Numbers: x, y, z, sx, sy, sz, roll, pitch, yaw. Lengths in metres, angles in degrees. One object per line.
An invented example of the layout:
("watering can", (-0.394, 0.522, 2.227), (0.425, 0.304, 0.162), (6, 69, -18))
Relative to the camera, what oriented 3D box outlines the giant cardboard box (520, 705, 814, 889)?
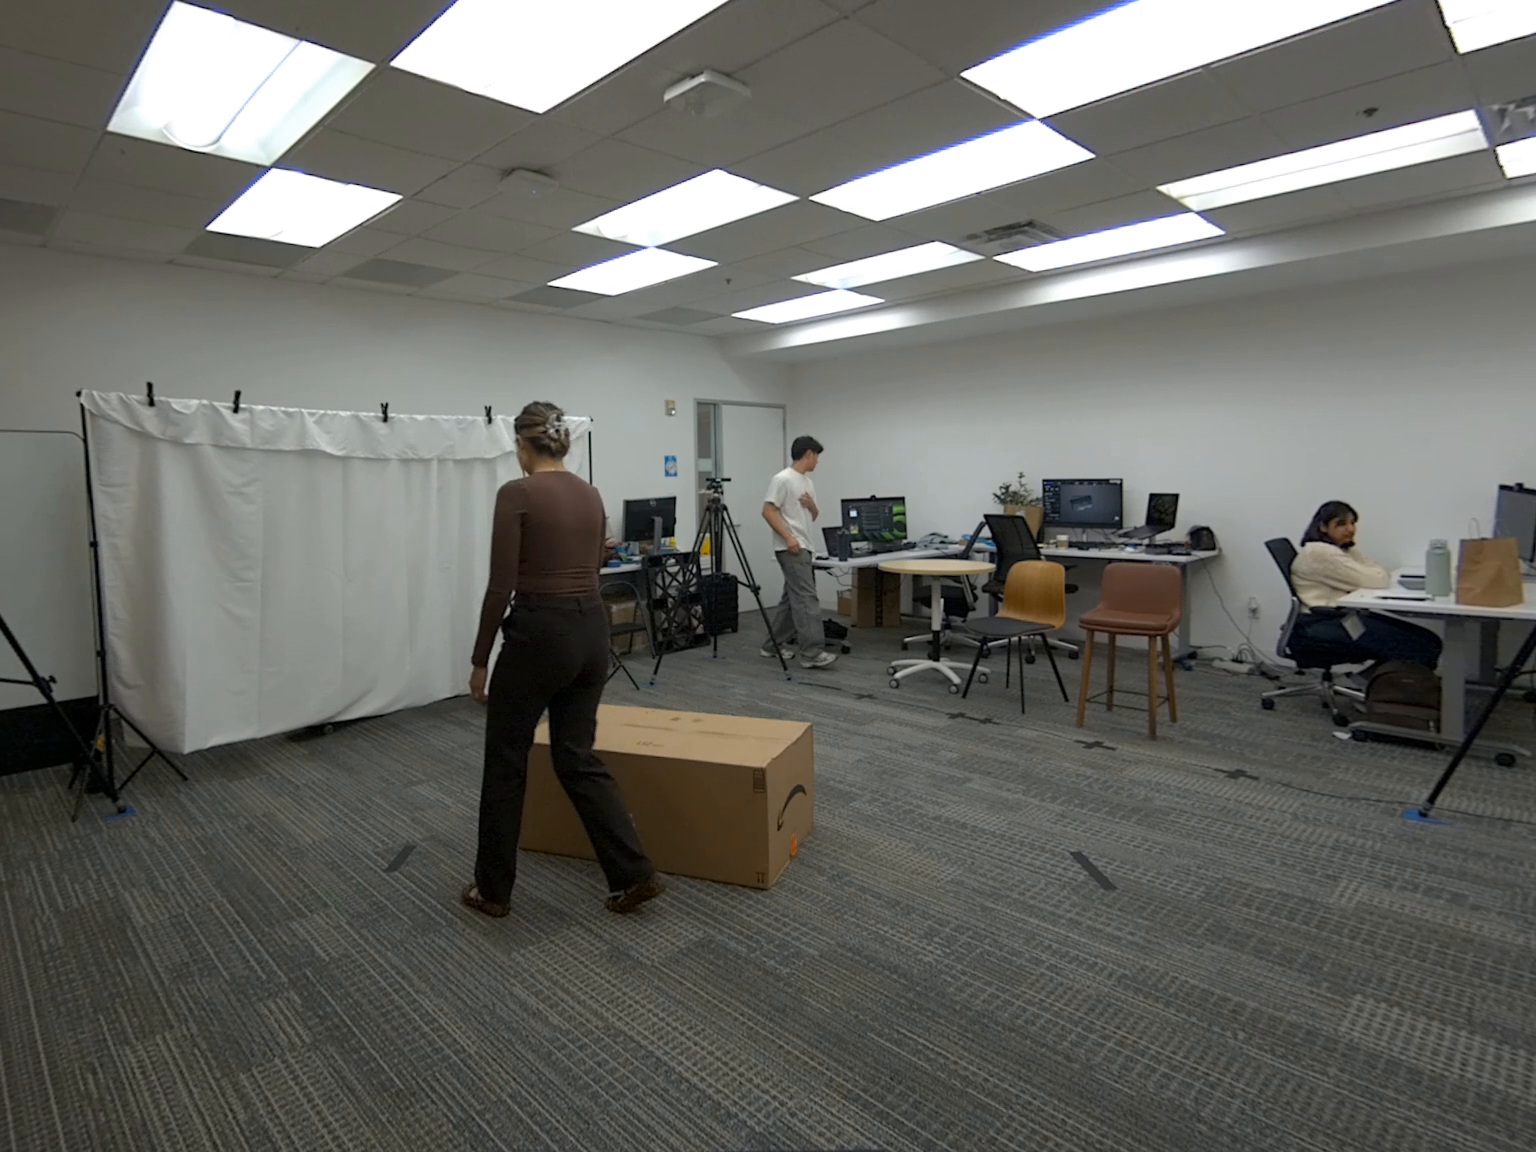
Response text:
("giant cardboard box", (-0.393, 0.811, 3.329), (1.048, 0.445, 0.575), (1, 7, 21))
